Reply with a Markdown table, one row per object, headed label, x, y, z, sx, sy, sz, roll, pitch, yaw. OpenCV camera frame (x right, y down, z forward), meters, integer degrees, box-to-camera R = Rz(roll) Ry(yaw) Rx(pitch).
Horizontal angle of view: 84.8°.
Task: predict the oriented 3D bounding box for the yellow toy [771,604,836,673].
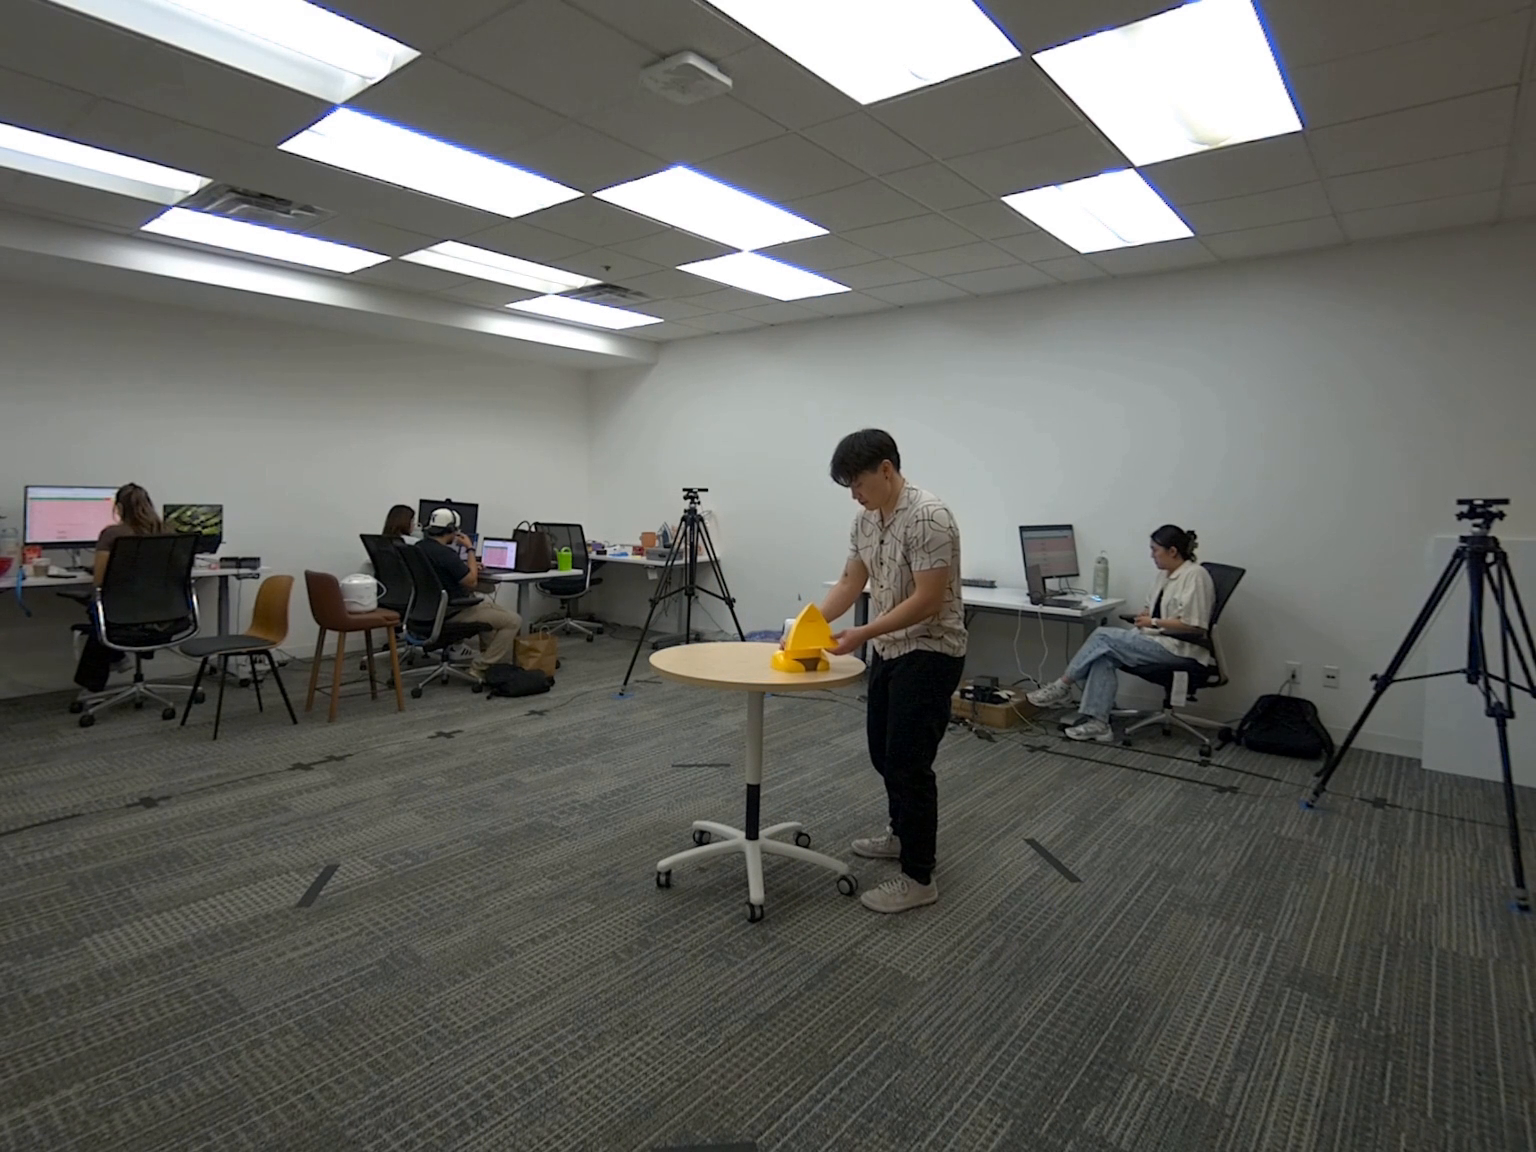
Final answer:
| label | x | y | z | sx | sy | sz | roll | pitch | yaw |
| --- | --- | --- | --- | --- | --- | --- | --- | --- | --- |
| yellow toy | 0.107 | 0.197 | 2.922 | 0.199 | 0.230 | 0.198 | 0 | 3 | -28 |
